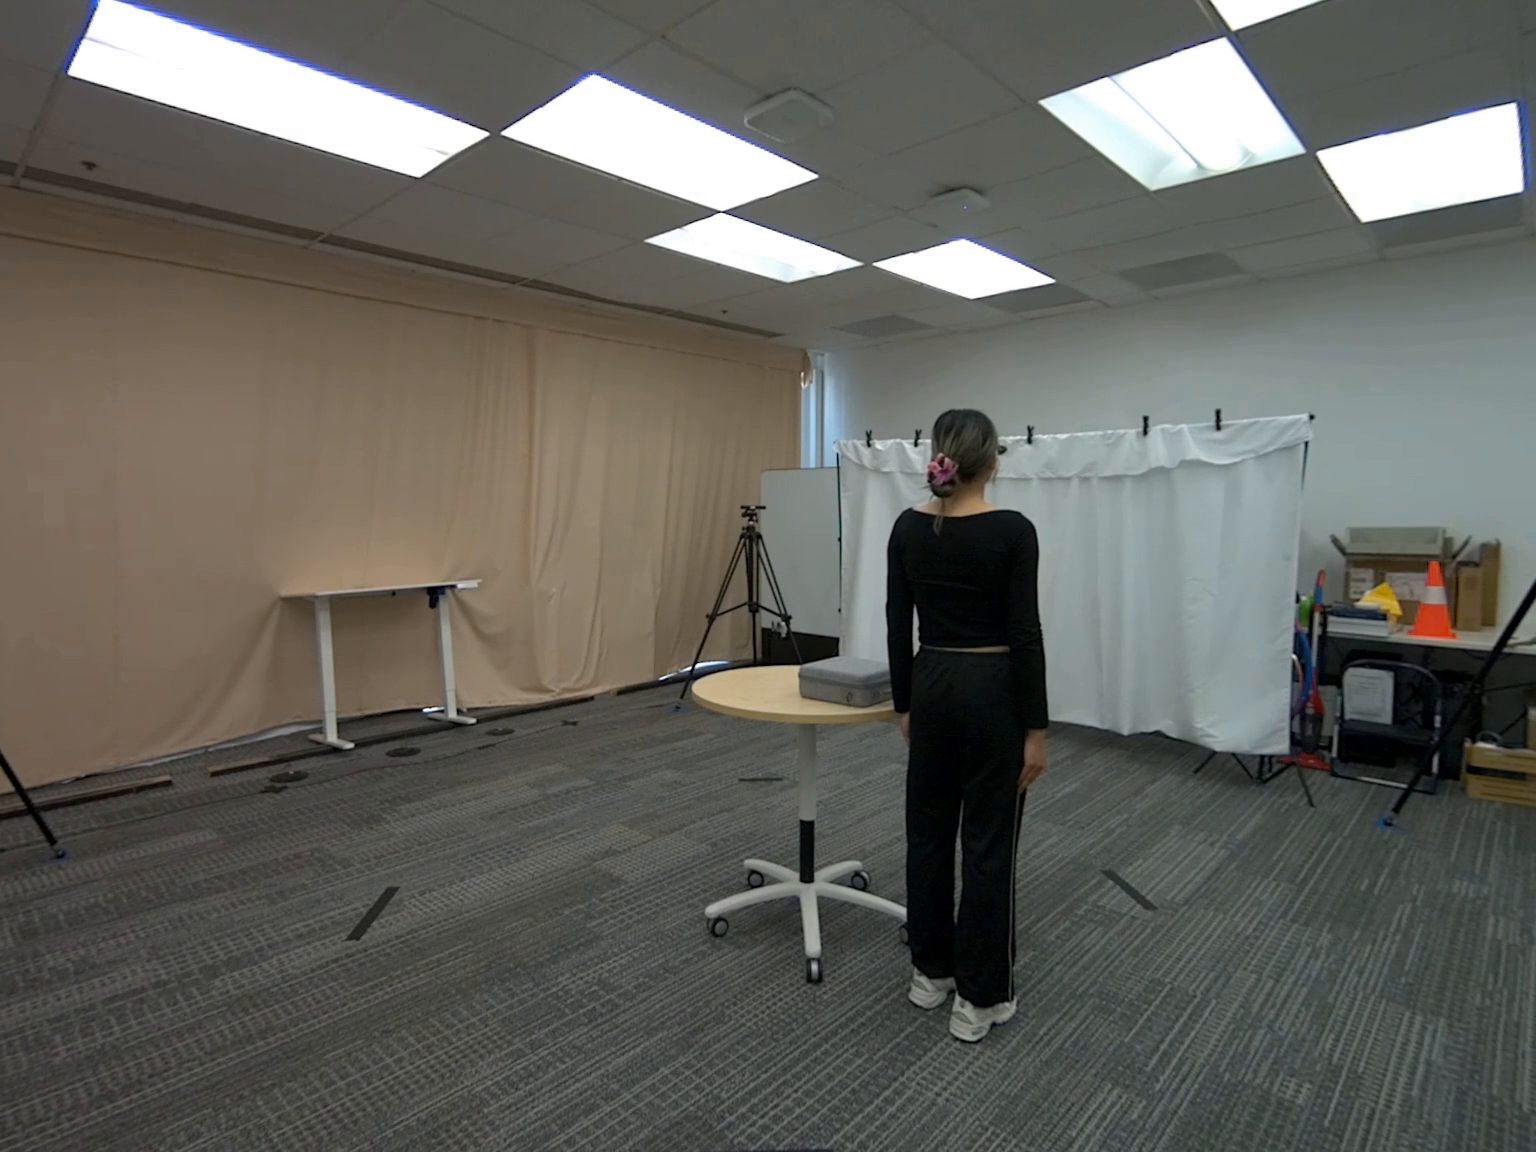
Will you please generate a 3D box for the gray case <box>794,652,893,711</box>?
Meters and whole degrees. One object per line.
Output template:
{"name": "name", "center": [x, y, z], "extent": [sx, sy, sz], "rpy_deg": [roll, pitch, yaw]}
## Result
{"name": "gray case", "center": [0.265, 0.320, 2.631], "extent": [0.269, 0.104, 0.249], "rpy_deg": [5, 6, 41]}
